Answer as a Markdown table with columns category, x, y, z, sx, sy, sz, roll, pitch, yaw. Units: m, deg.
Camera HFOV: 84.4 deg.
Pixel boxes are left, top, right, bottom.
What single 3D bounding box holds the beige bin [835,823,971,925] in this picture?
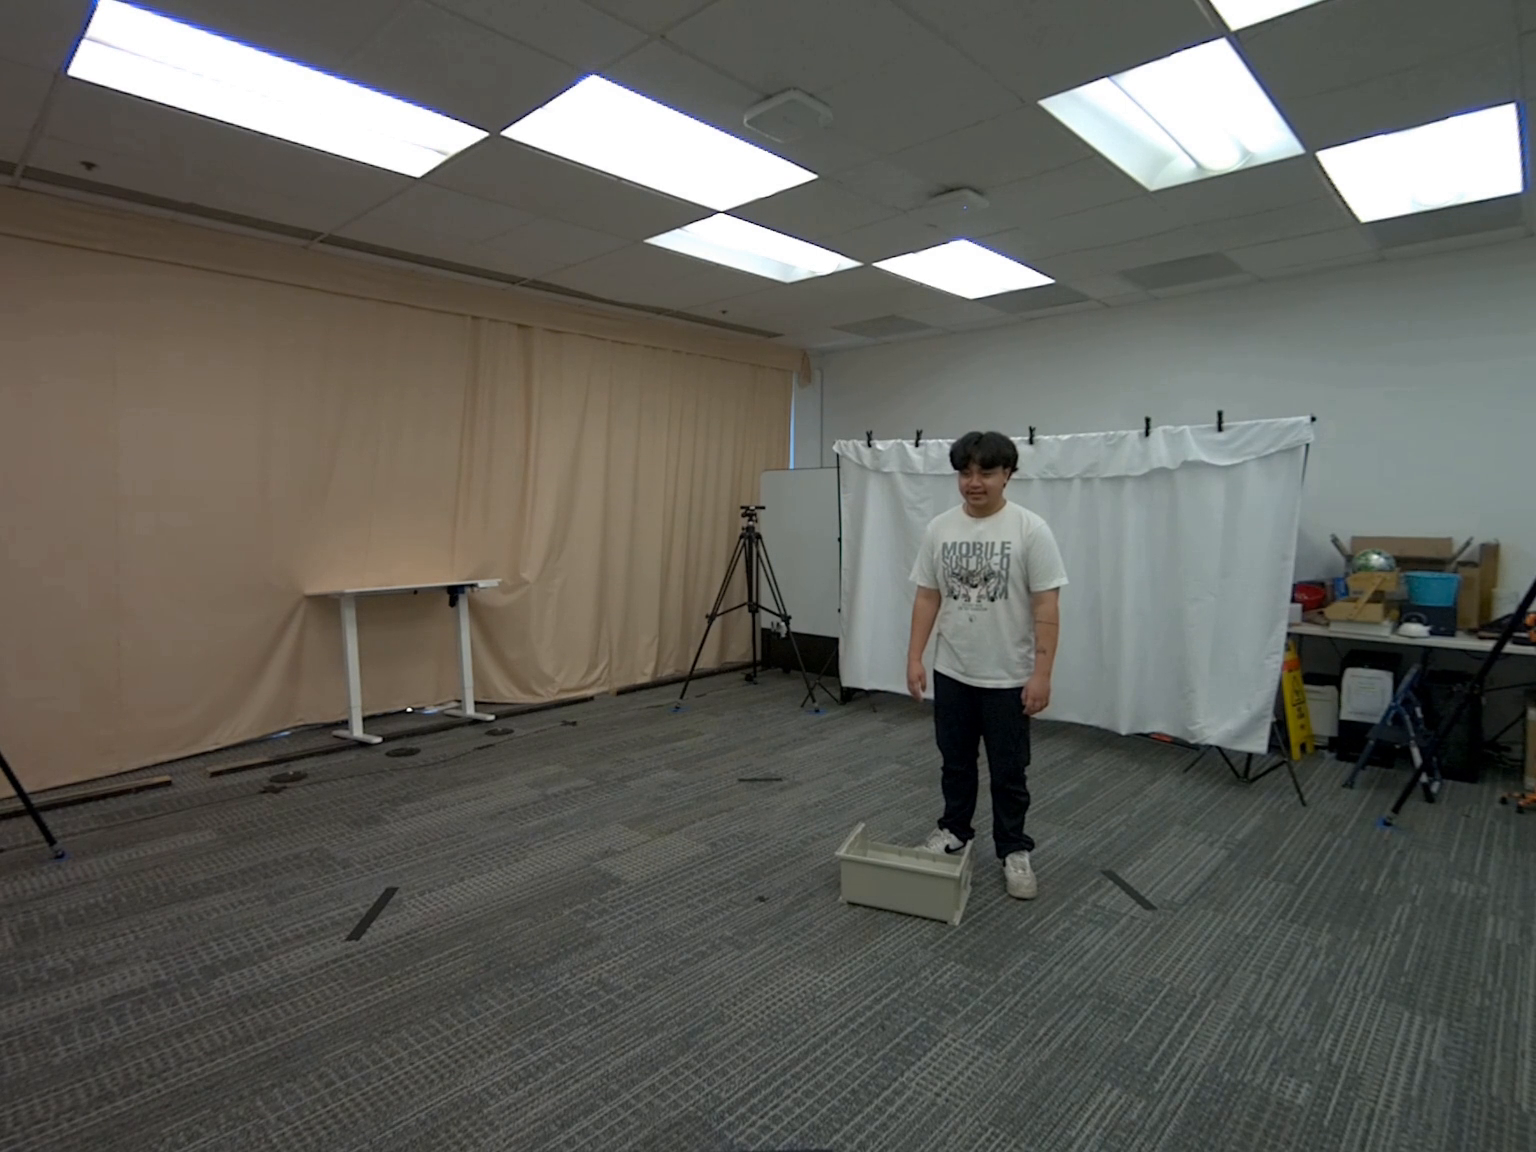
| category | x | y | z | sx | sy | sz | roll | pitch | yaw |
| --- | --- | --- | --- | --- | --- | --- | --- | --- | --- |
| beige bin | 0.504 | 1.049 | 3.017 | 0.433 | 0.188 | 0.369 | 3 | 6 | 23 |
